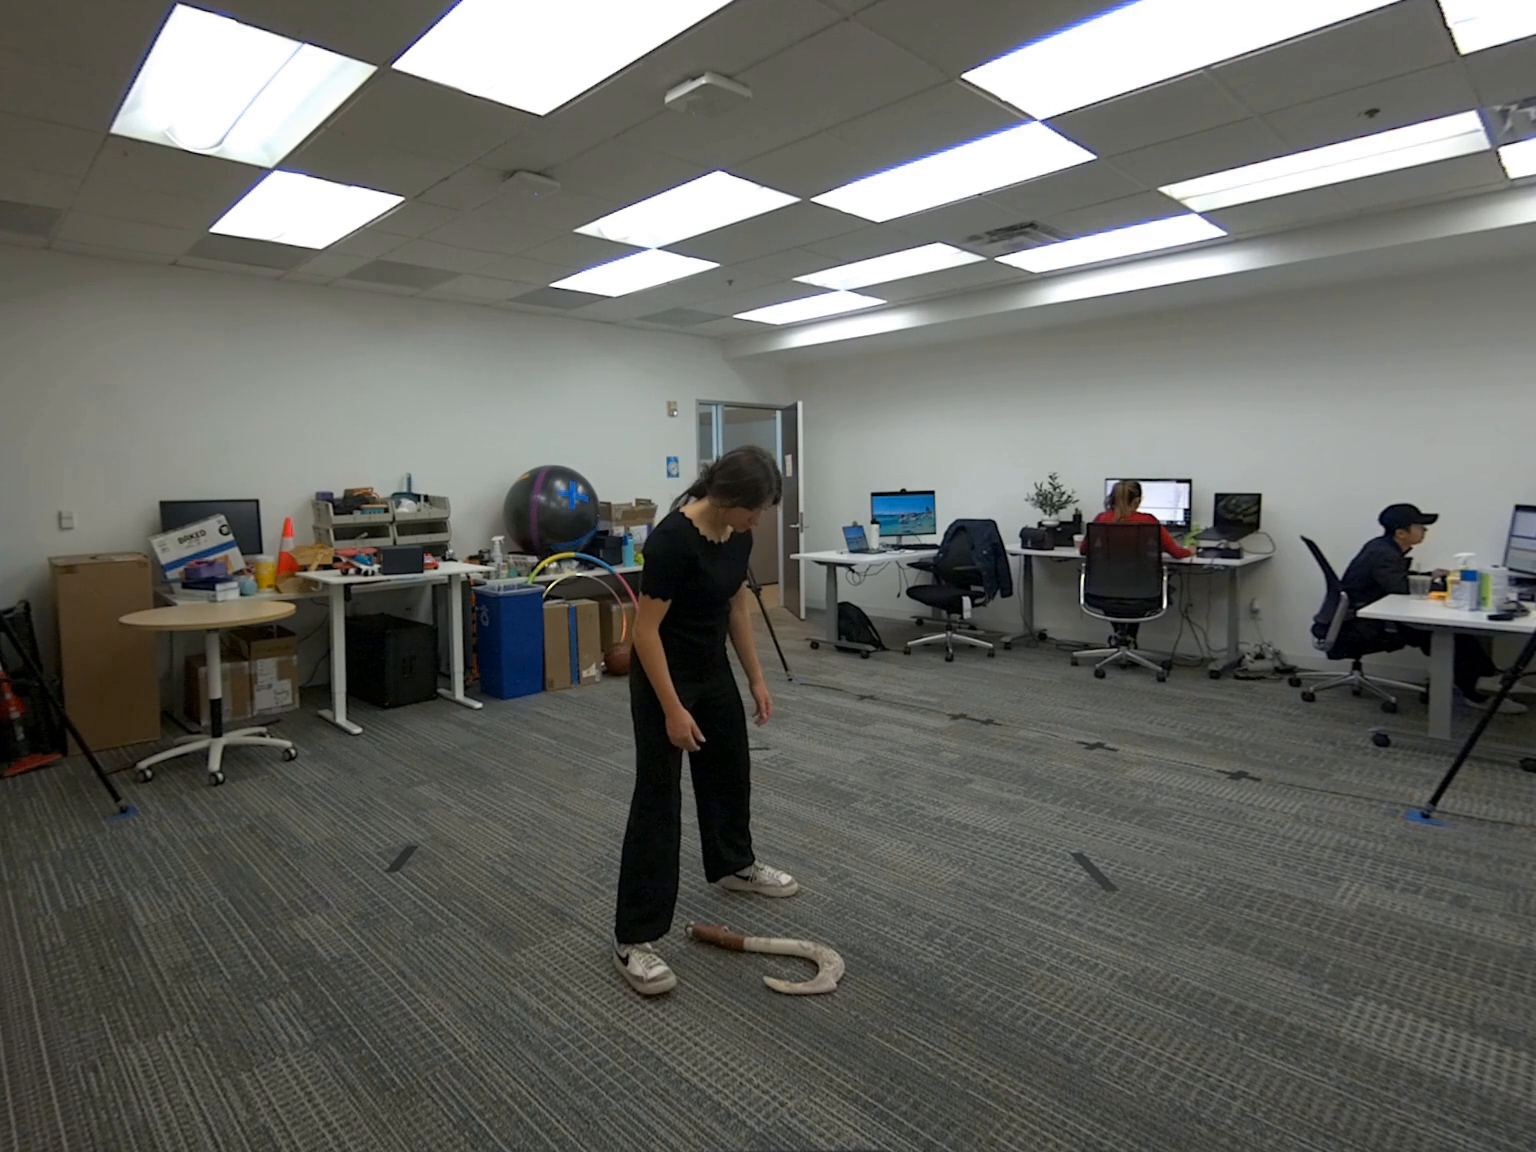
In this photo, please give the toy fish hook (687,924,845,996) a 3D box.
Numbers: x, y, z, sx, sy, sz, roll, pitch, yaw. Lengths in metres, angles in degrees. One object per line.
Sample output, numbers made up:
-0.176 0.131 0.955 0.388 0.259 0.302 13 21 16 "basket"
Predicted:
-0.029 1.095 2.463 0.518 0.048 0.220 1 4 25 "toy fish hook"
